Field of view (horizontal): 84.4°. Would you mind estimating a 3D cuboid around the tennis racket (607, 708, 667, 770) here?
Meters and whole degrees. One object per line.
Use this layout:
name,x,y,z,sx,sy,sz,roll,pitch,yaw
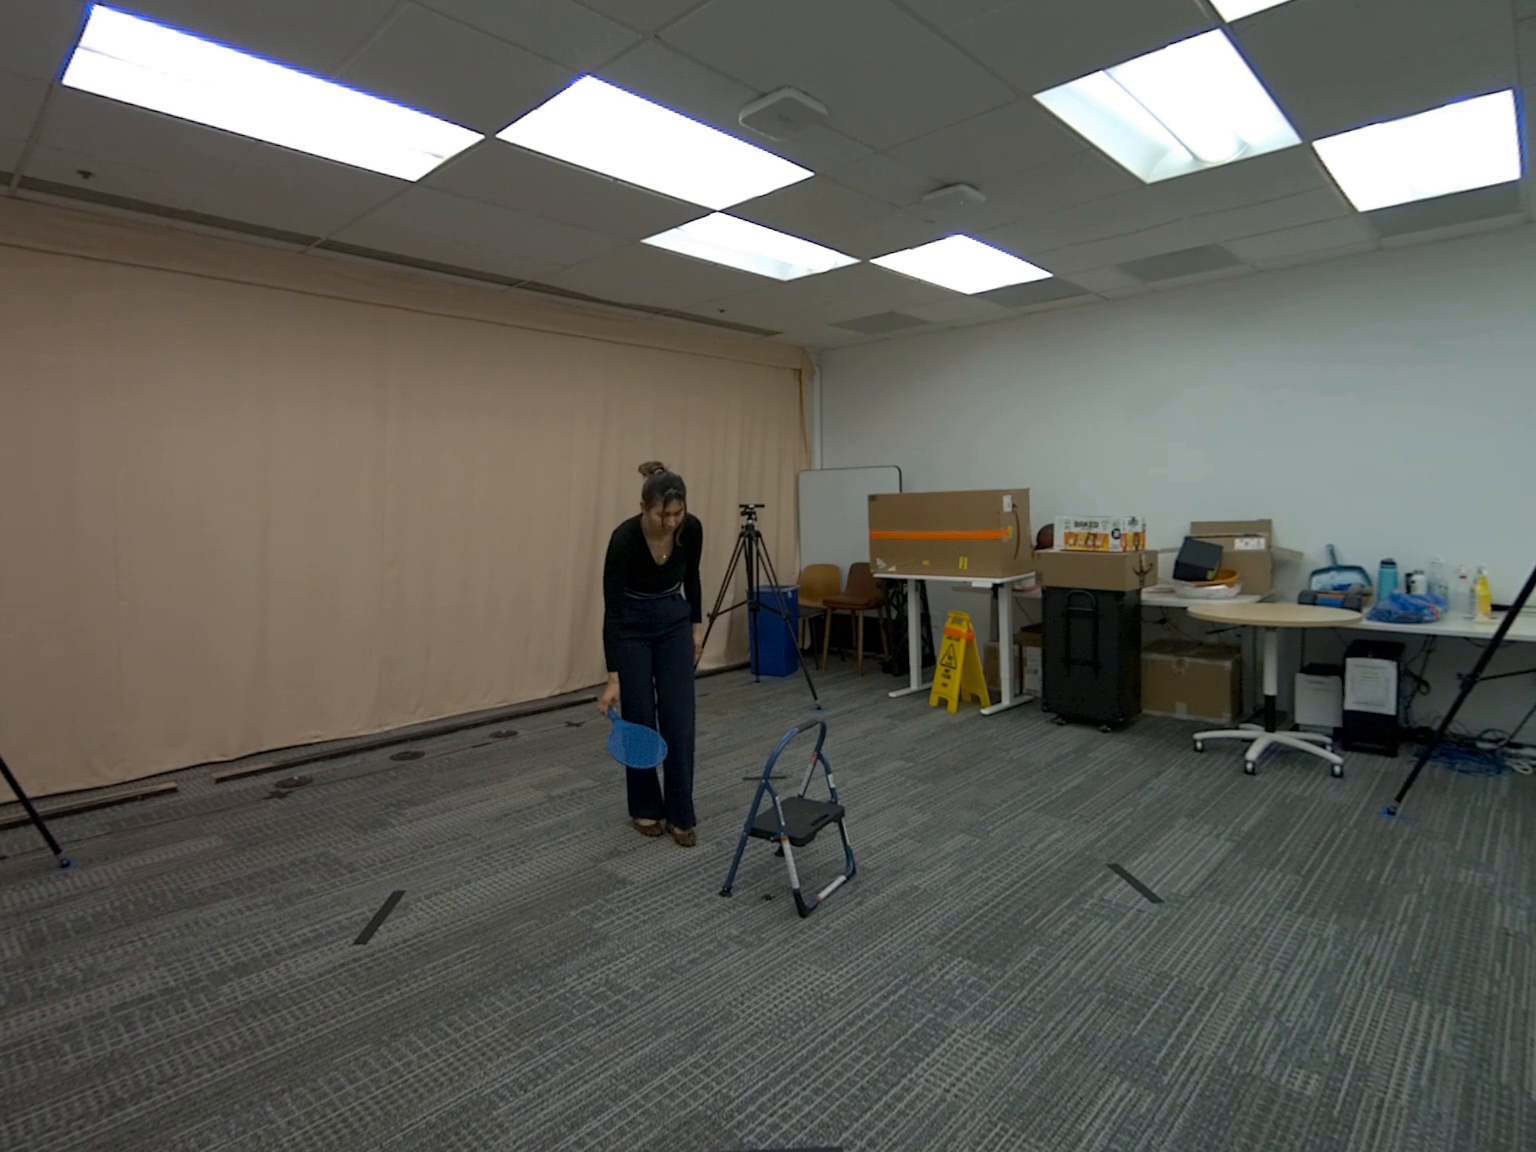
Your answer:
tennis racket,-0.511,0.608,3.249,0.208,0.031,0.449,-15,32,-34
